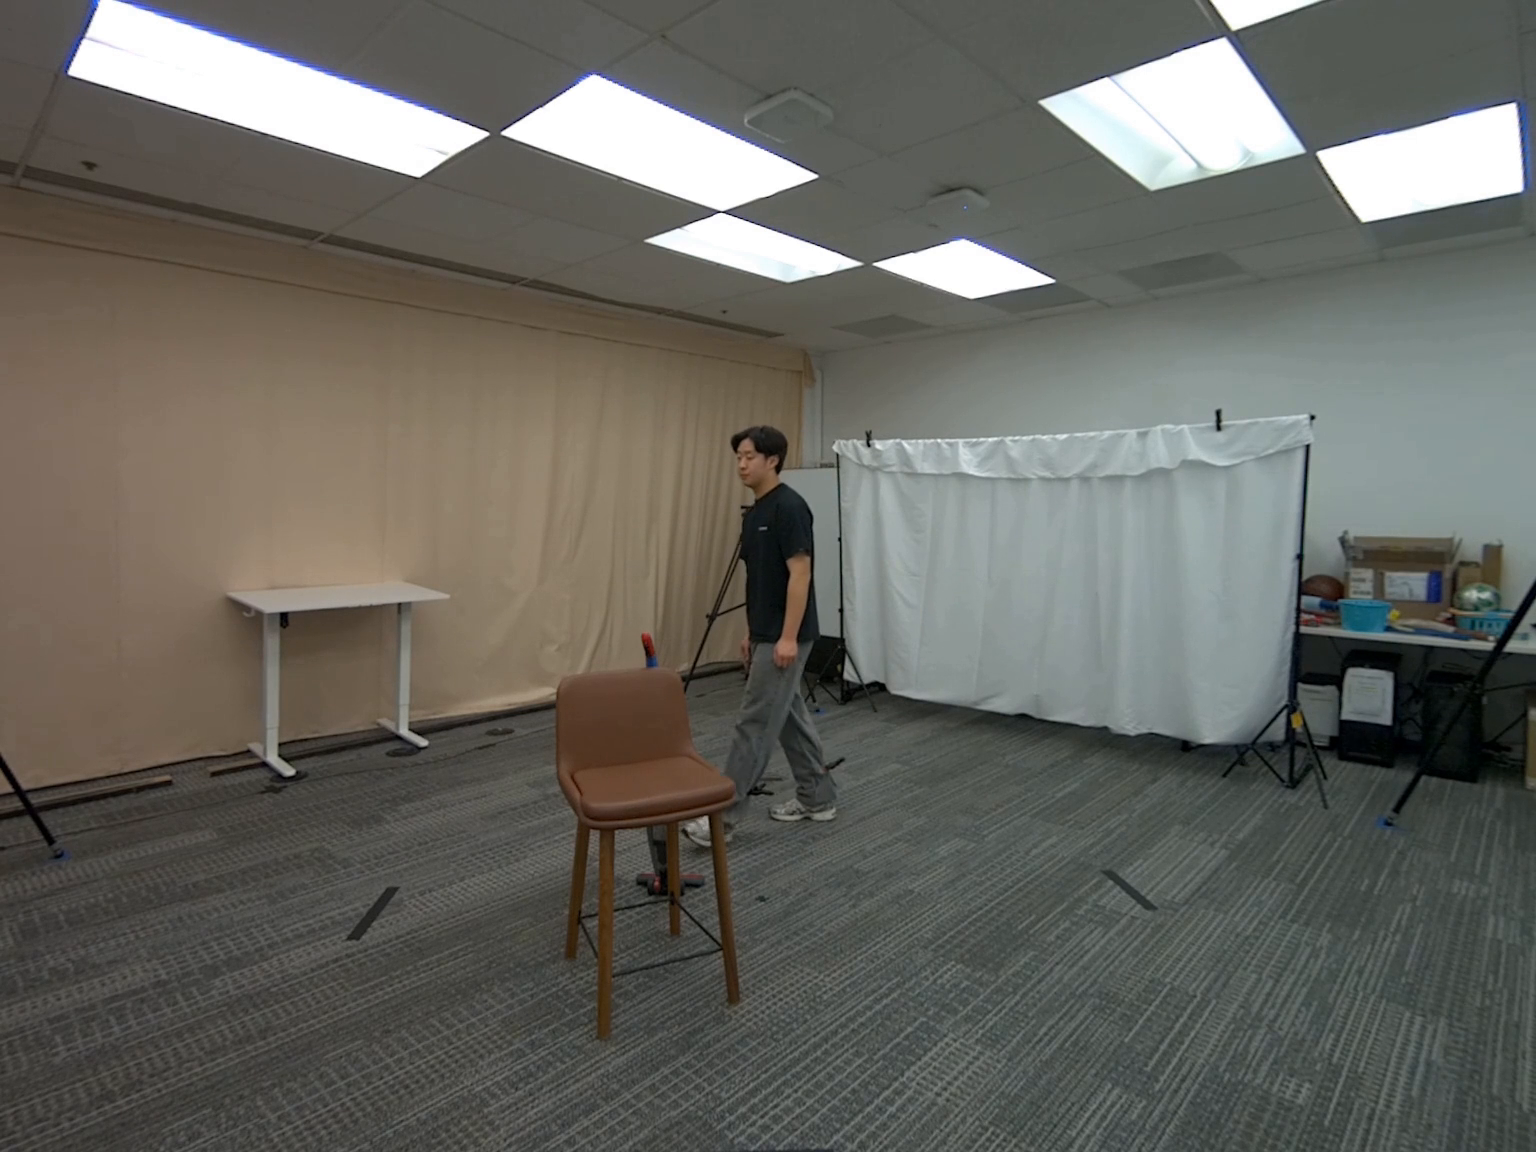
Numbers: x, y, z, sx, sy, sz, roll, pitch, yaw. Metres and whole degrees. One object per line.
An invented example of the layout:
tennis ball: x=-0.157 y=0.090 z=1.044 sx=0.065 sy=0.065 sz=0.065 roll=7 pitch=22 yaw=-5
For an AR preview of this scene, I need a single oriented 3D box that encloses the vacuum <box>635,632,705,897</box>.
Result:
vacuum: x=-0.378 y=0.661 z=2.861 sx=0.253 sy=1.034 sz=0.146 roll=-1 pitch=23 yaw=2
